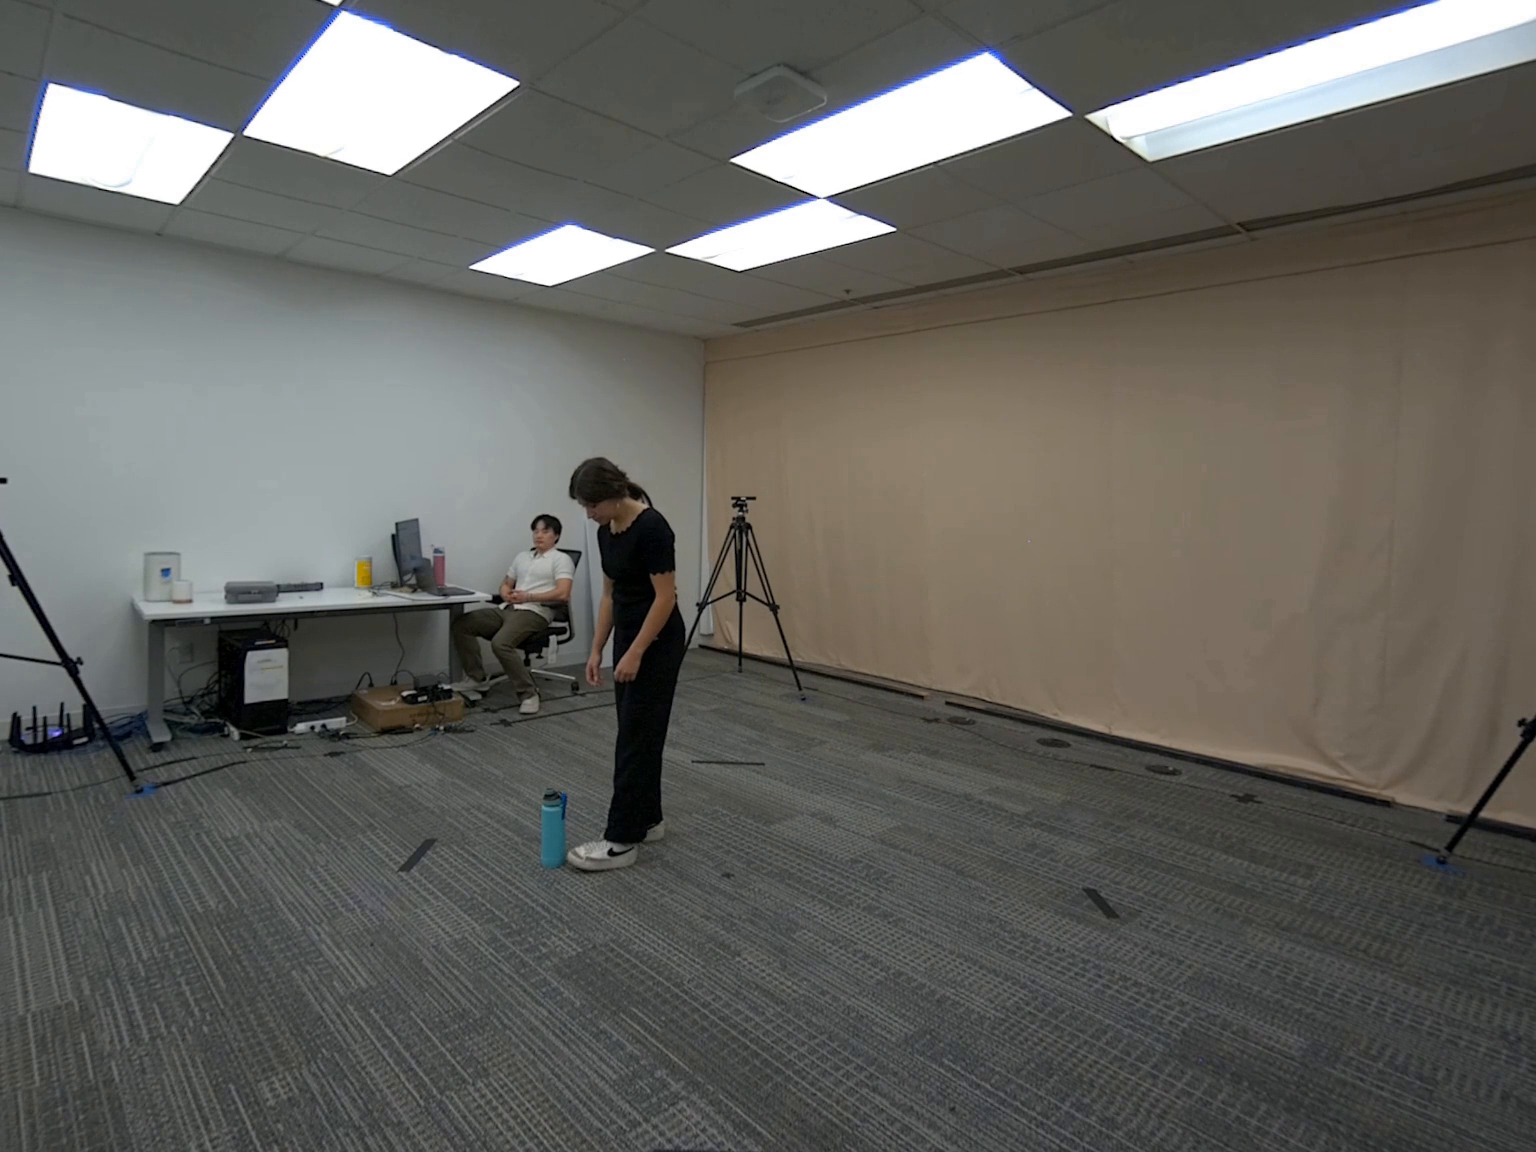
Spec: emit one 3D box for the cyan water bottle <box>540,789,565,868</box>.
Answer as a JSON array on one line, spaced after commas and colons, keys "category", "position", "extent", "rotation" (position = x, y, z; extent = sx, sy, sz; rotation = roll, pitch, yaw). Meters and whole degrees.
[{"category": "cyan water bottle", "position": [-0.807, 0.938, 3.173], "extent": [0.092, 0.283, 0.092], "rotation": [2, 2, -1]}]
